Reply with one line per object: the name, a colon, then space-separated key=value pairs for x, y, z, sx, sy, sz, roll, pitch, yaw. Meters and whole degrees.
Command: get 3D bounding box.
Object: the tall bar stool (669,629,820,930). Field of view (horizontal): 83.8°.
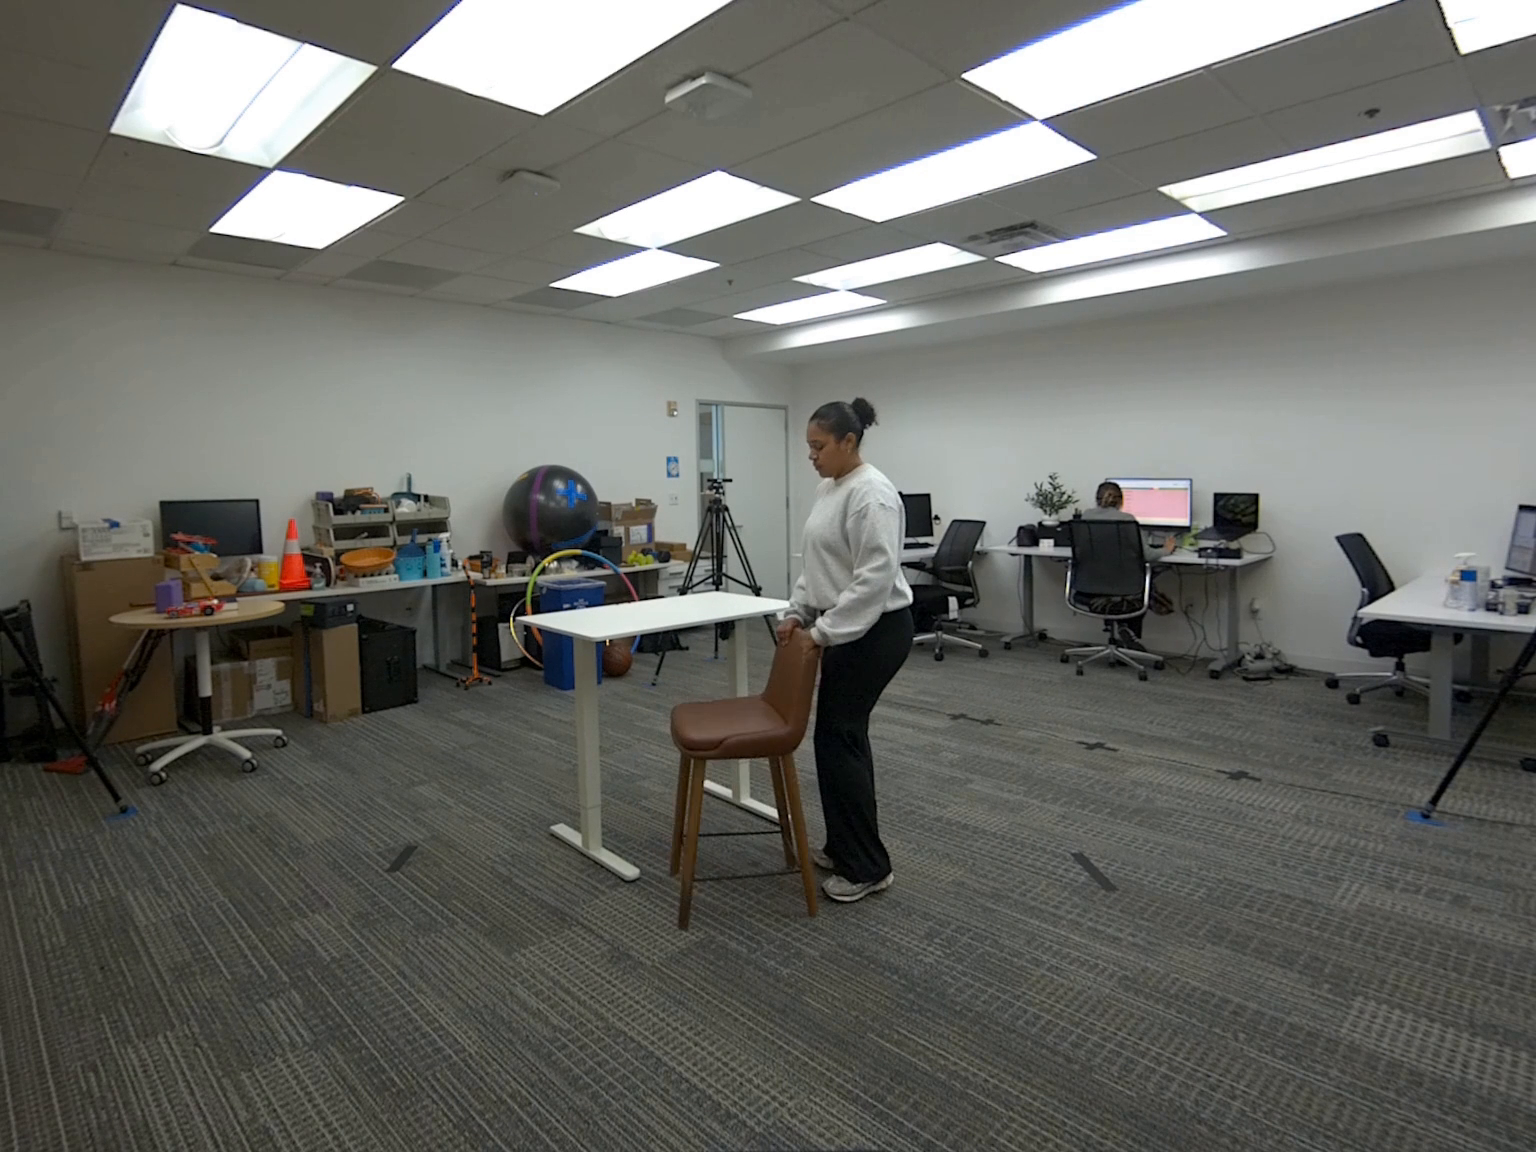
tall bar stool: x=-0.088 y=0.641 z=2.842 sx=0.464 sy=0.886 sz=0.462 roll=1 pitch=5 yaw=-9
